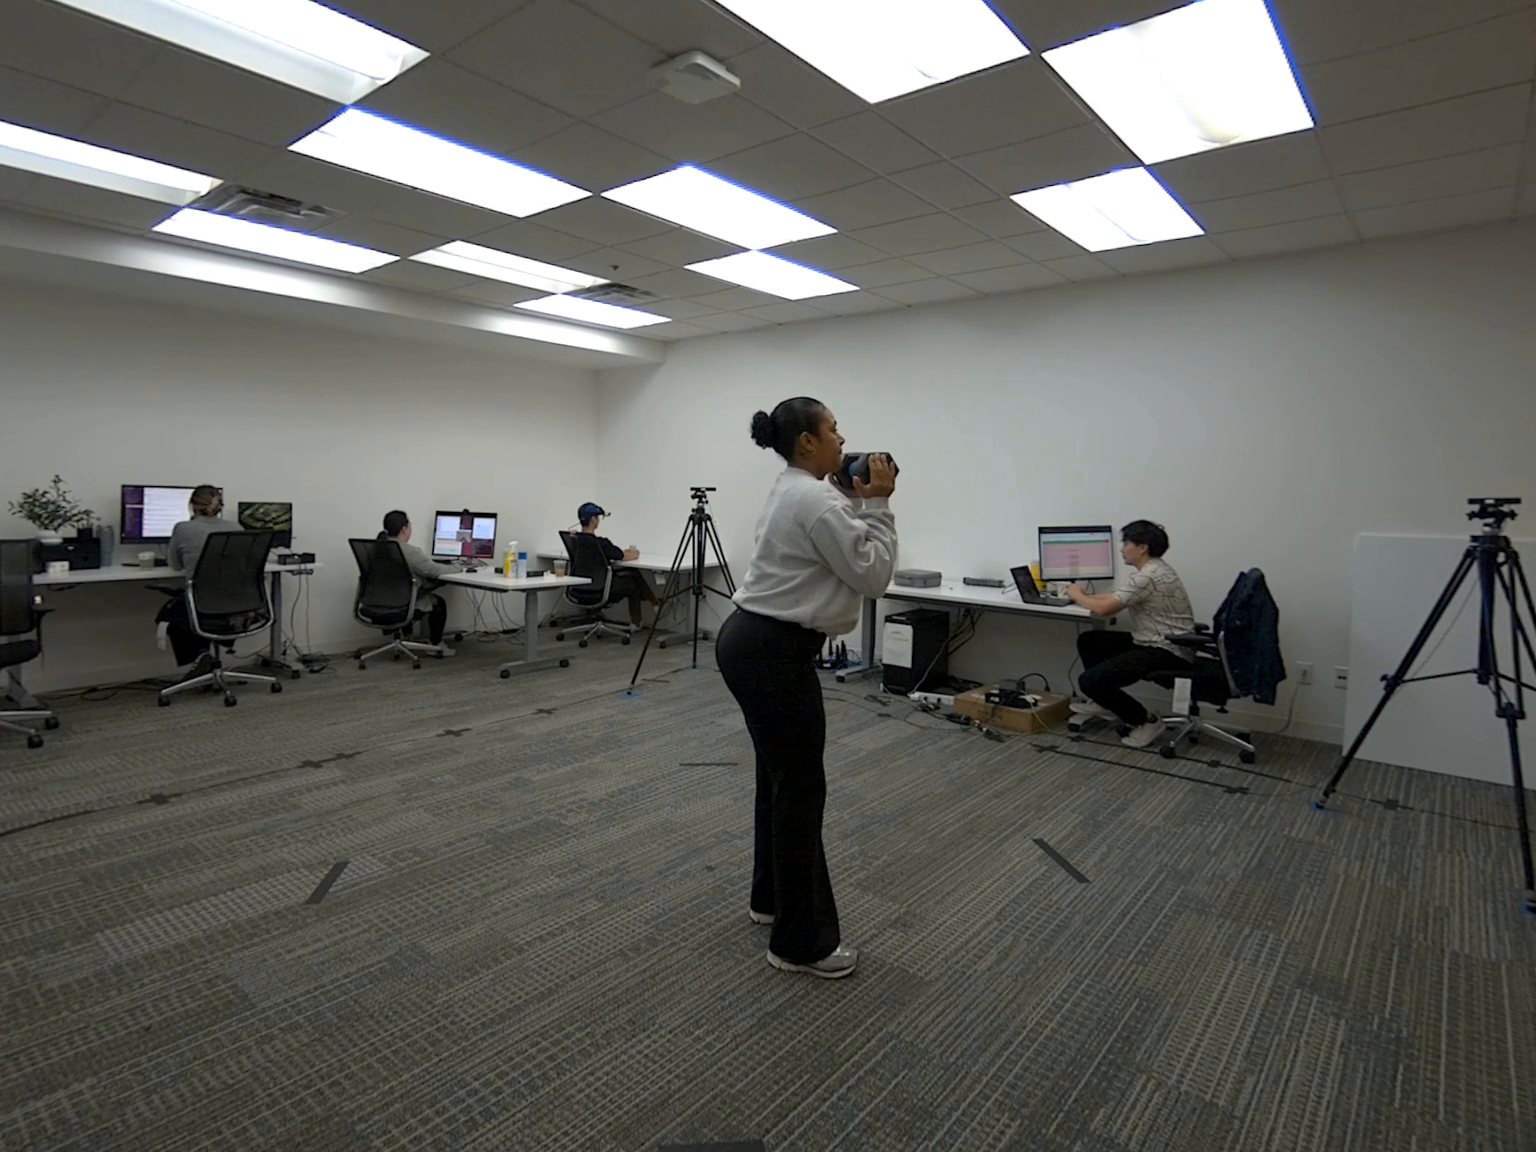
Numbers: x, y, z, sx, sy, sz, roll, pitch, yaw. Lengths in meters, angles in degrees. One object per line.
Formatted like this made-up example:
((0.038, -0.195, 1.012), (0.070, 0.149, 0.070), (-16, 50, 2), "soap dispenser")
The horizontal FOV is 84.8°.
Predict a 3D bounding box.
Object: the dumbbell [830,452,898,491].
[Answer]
((0.275, -0.307, 2.541), (0.108, 0.121, 0.298), (-37, 12, -4), "dumbbell")
